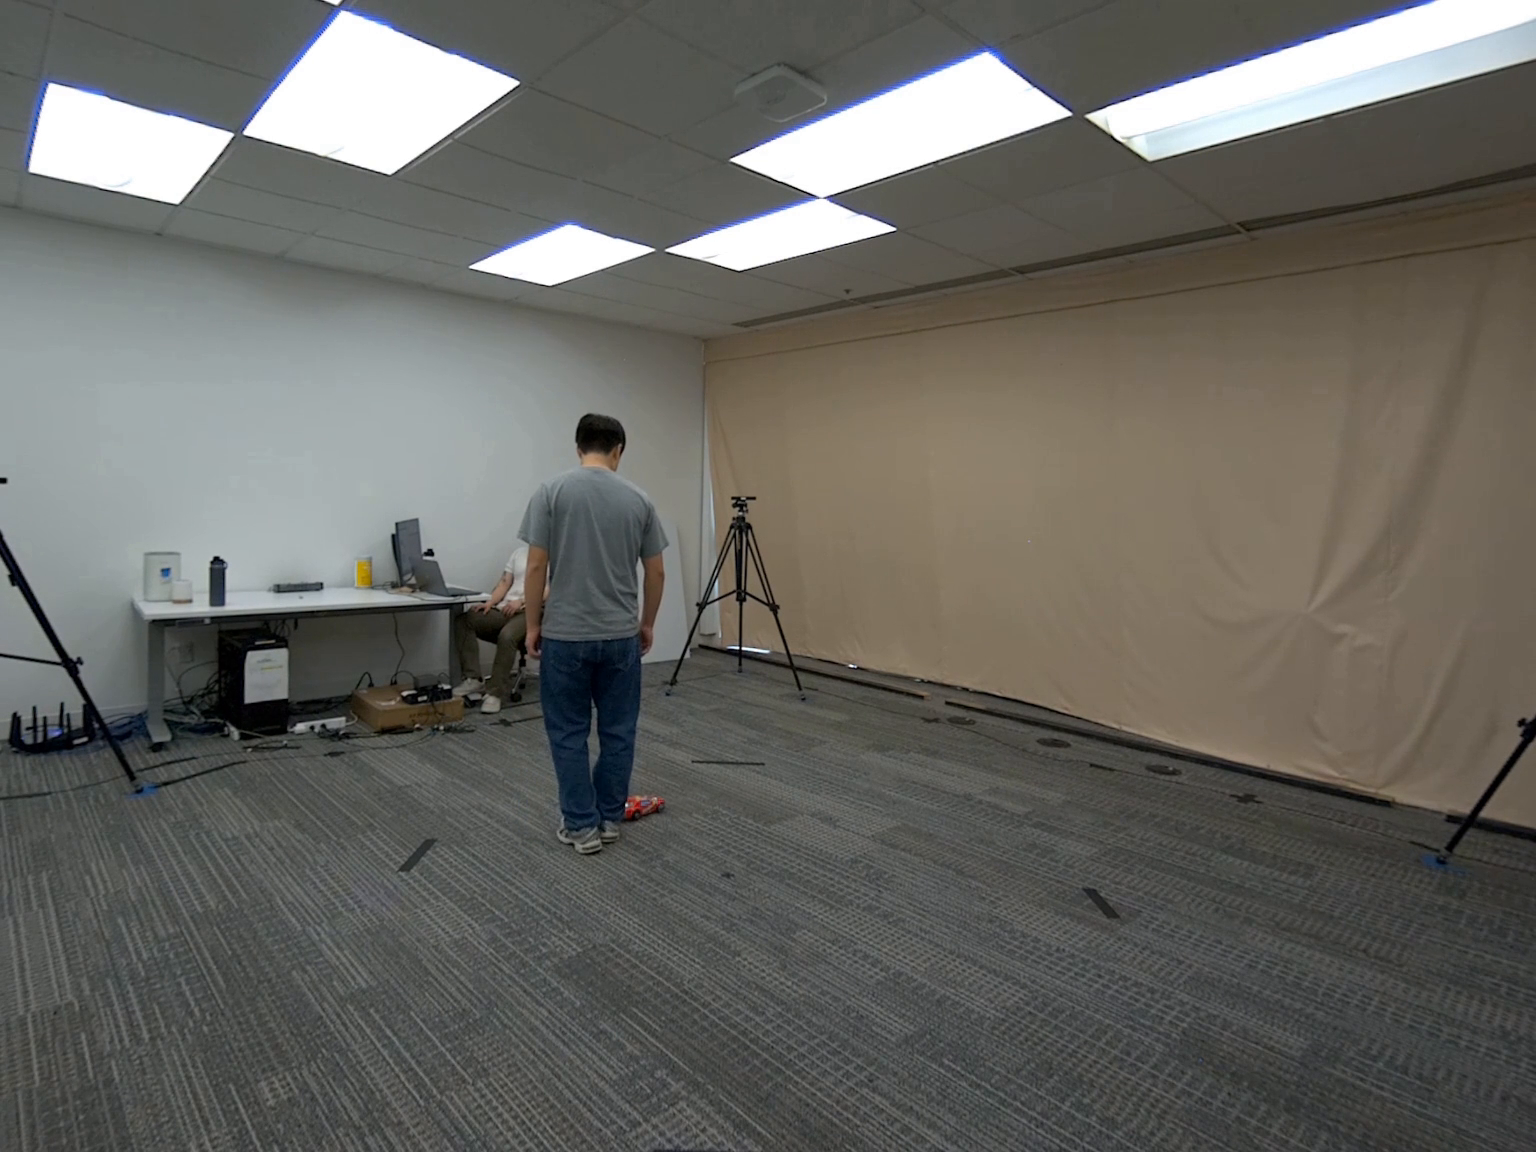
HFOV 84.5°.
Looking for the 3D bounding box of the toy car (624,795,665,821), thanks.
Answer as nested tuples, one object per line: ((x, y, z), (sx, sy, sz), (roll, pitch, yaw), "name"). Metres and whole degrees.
((-0.586, 1.014, 3.681), (0.133, 0.083, 0.247), (5, -5, 41), "toy car")
